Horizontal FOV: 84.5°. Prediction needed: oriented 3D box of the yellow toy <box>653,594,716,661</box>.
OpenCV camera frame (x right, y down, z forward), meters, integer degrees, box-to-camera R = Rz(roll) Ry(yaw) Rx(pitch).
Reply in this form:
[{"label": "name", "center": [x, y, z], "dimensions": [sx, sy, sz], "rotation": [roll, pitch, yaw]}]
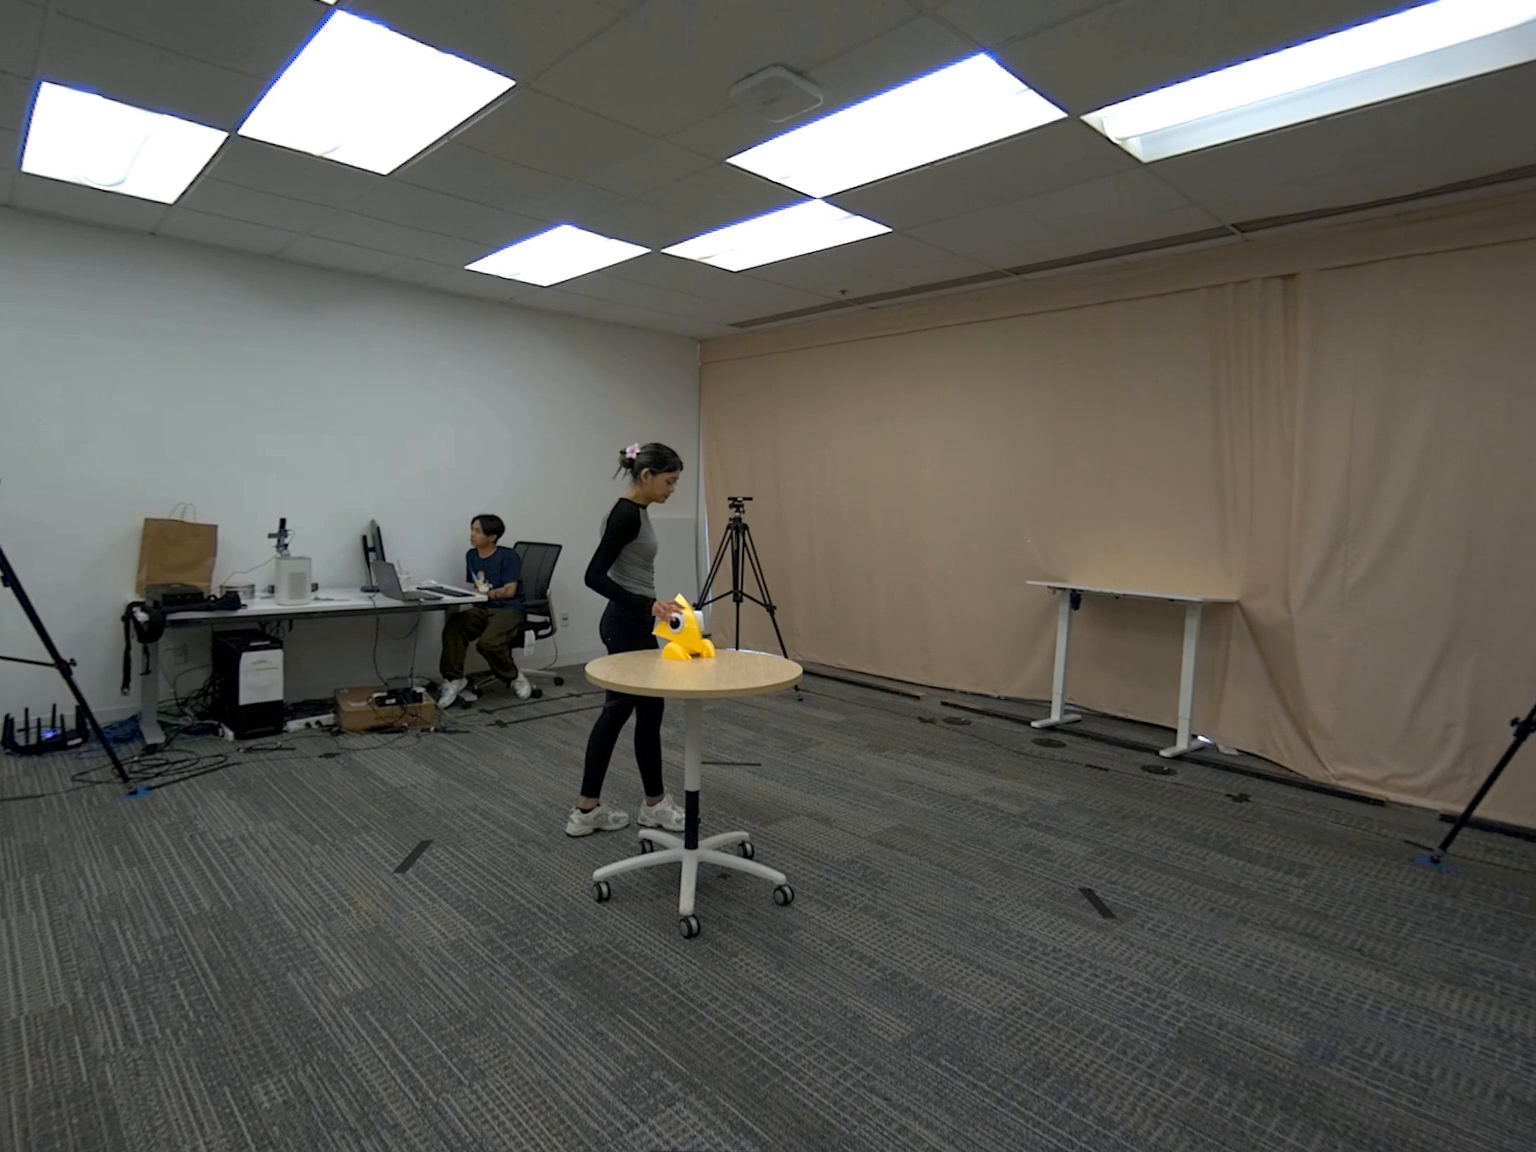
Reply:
[{"label": "yellow toy", "center": [-0.316, 0.189, 3.205], "dimensions": [0.200, 0.230, 0.198], "rotation": [-1, 4, -36]}]
